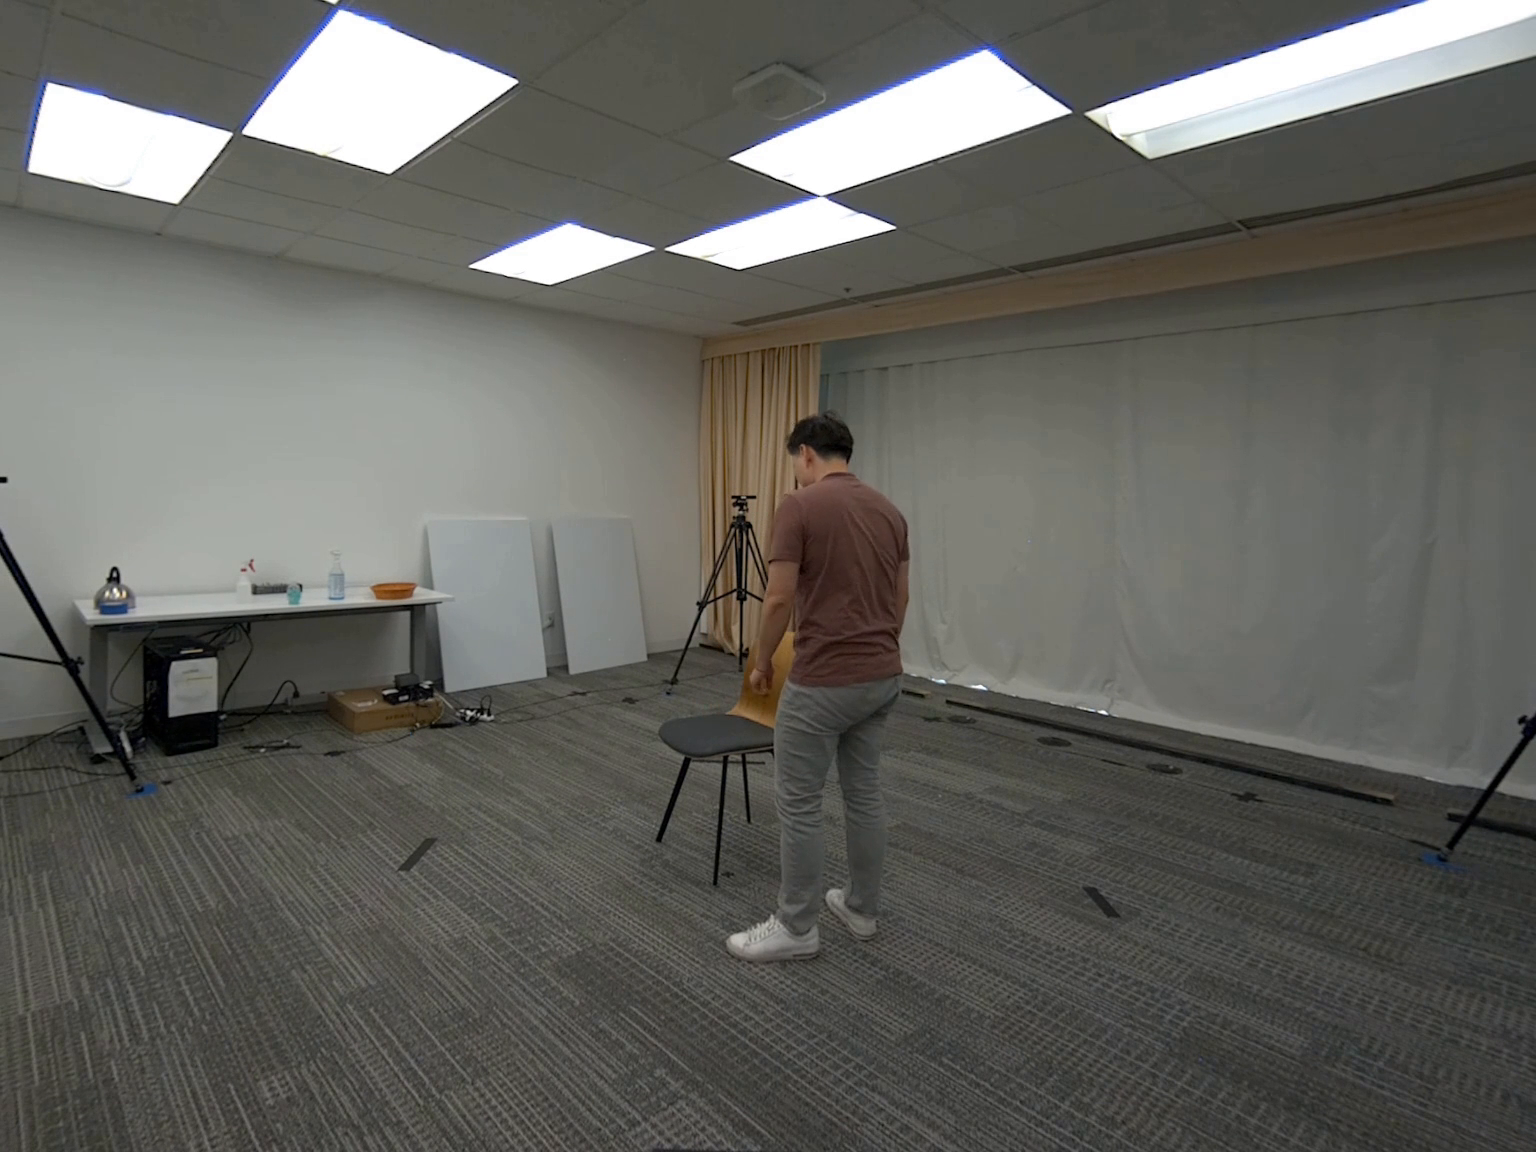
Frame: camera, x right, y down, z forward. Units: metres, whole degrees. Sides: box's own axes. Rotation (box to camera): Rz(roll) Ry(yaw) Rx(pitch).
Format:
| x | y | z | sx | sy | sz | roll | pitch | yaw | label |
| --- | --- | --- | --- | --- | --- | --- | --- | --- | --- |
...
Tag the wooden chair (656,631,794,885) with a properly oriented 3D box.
| x | y | z | sx | sy | sz | roll | pitch | yaw | label |
| --- | --- | --- | --- | --- | --- | --- | --- | --- | --- |
| -0.141 | 0.659 | 3.281 | 0.511 | 0.877 | 0.489 | 4 | 1 | -34 | wooden chair |
